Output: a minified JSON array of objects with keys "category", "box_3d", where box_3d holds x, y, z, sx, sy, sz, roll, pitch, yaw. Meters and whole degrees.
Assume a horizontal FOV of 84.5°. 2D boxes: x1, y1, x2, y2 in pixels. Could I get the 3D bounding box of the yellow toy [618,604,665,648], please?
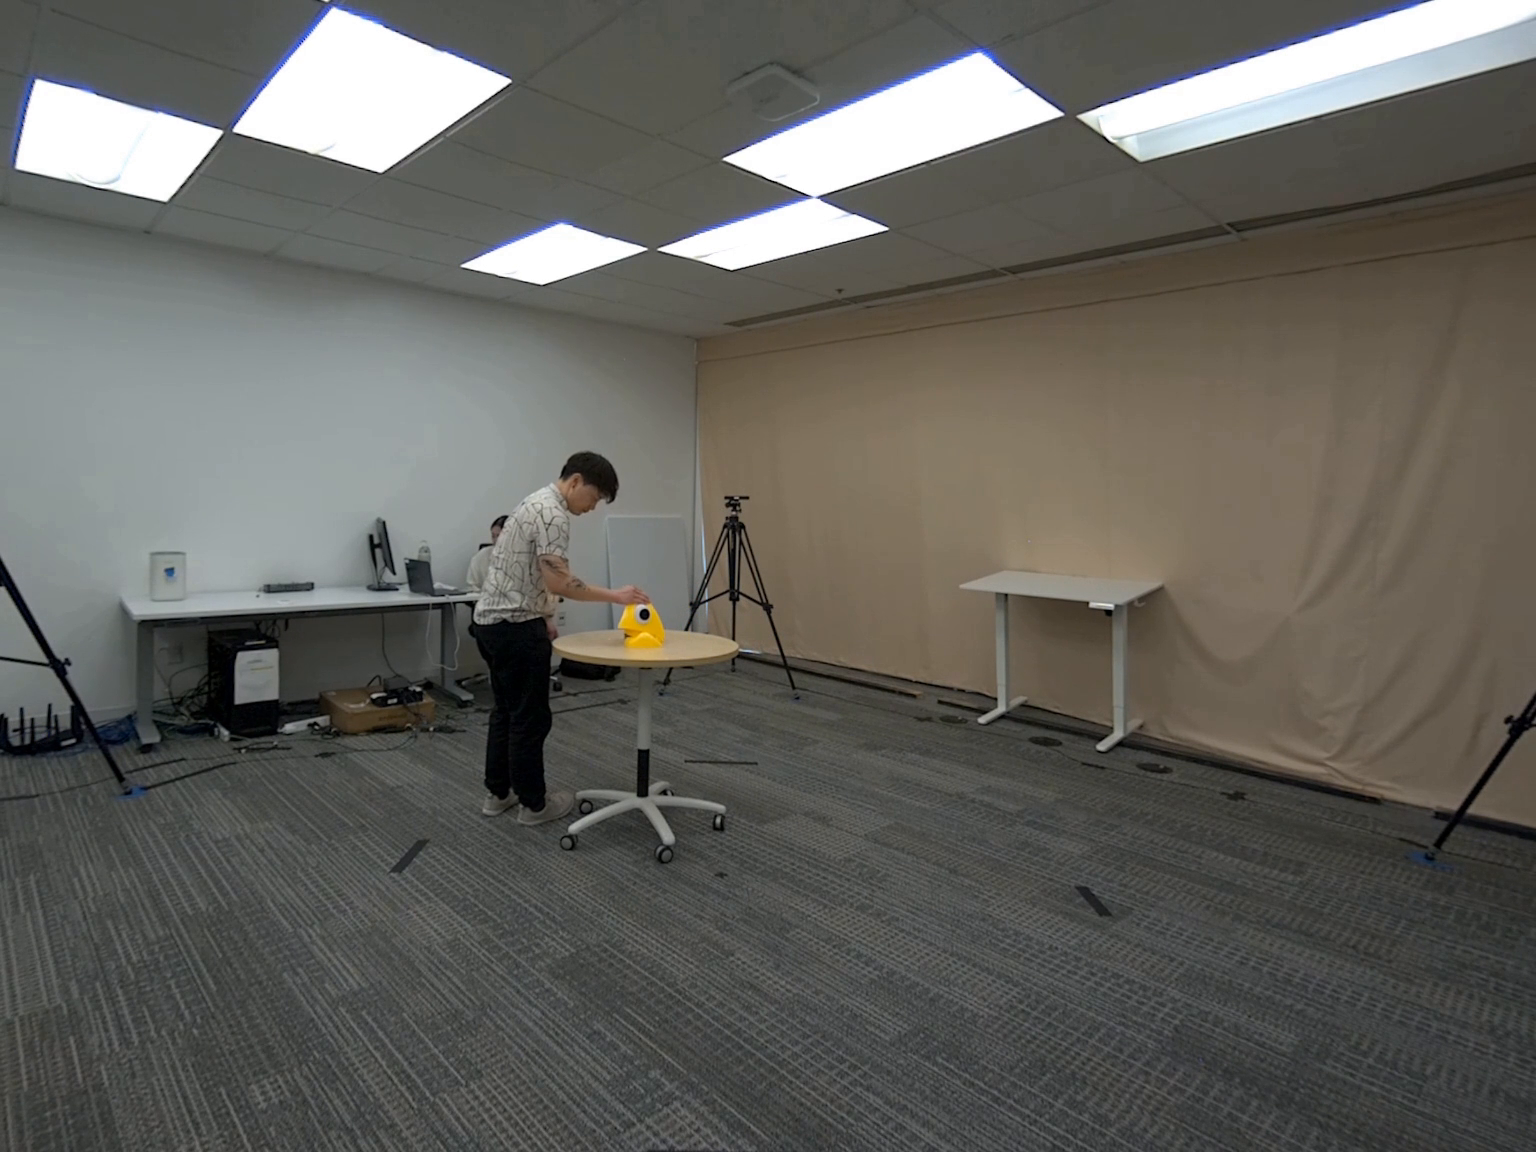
[{"category":"yellow toy","box_3d":[-0.529,0.164,3.470,0.192,0.230,0.206,2,3,-5]}]
